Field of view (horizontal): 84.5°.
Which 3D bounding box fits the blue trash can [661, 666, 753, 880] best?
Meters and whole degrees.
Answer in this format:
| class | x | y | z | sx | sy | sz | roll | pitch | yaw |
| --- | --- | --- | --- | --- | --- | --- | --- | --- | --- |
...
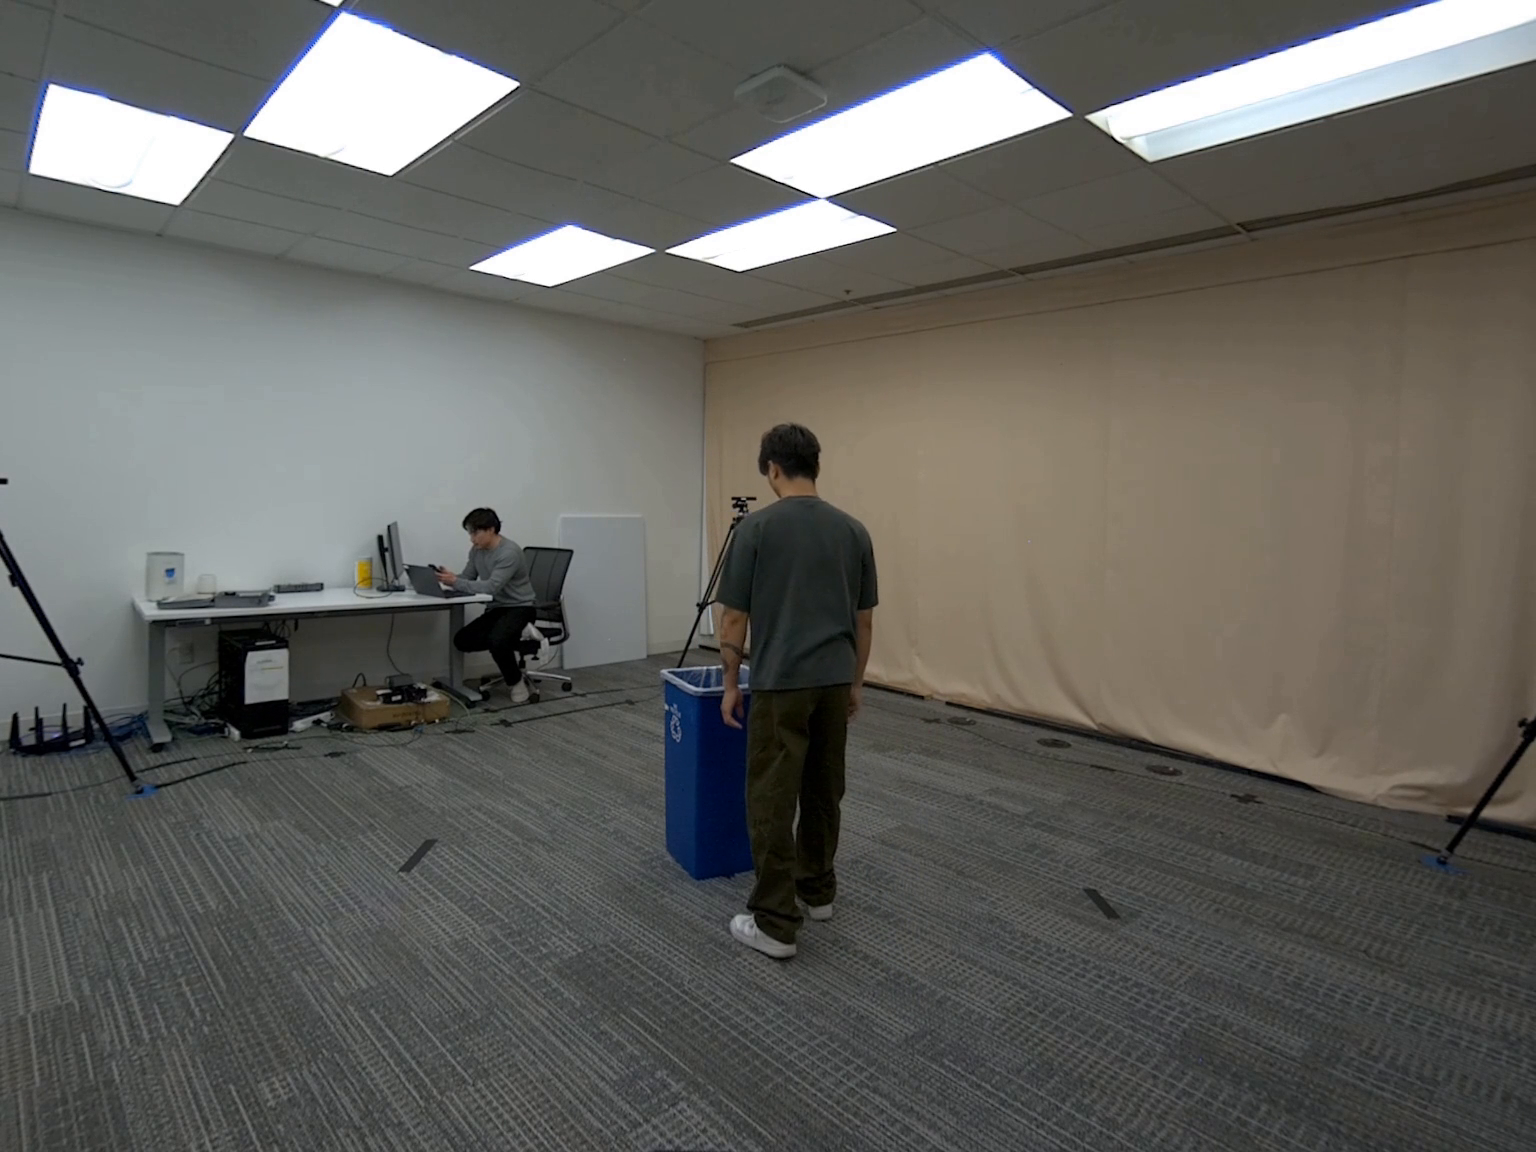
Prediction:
| class | x | y | z | sx | sy | sz | roll | pitch | yaw |
| --- | --- | --- | --- | --- | --- | --- | --- | --- | --- |
| blue trash can | -0.202 | 0.736 | 3.226 | 0.367 | 0.712 | 0.386 | 0 | 4 | -28 |
